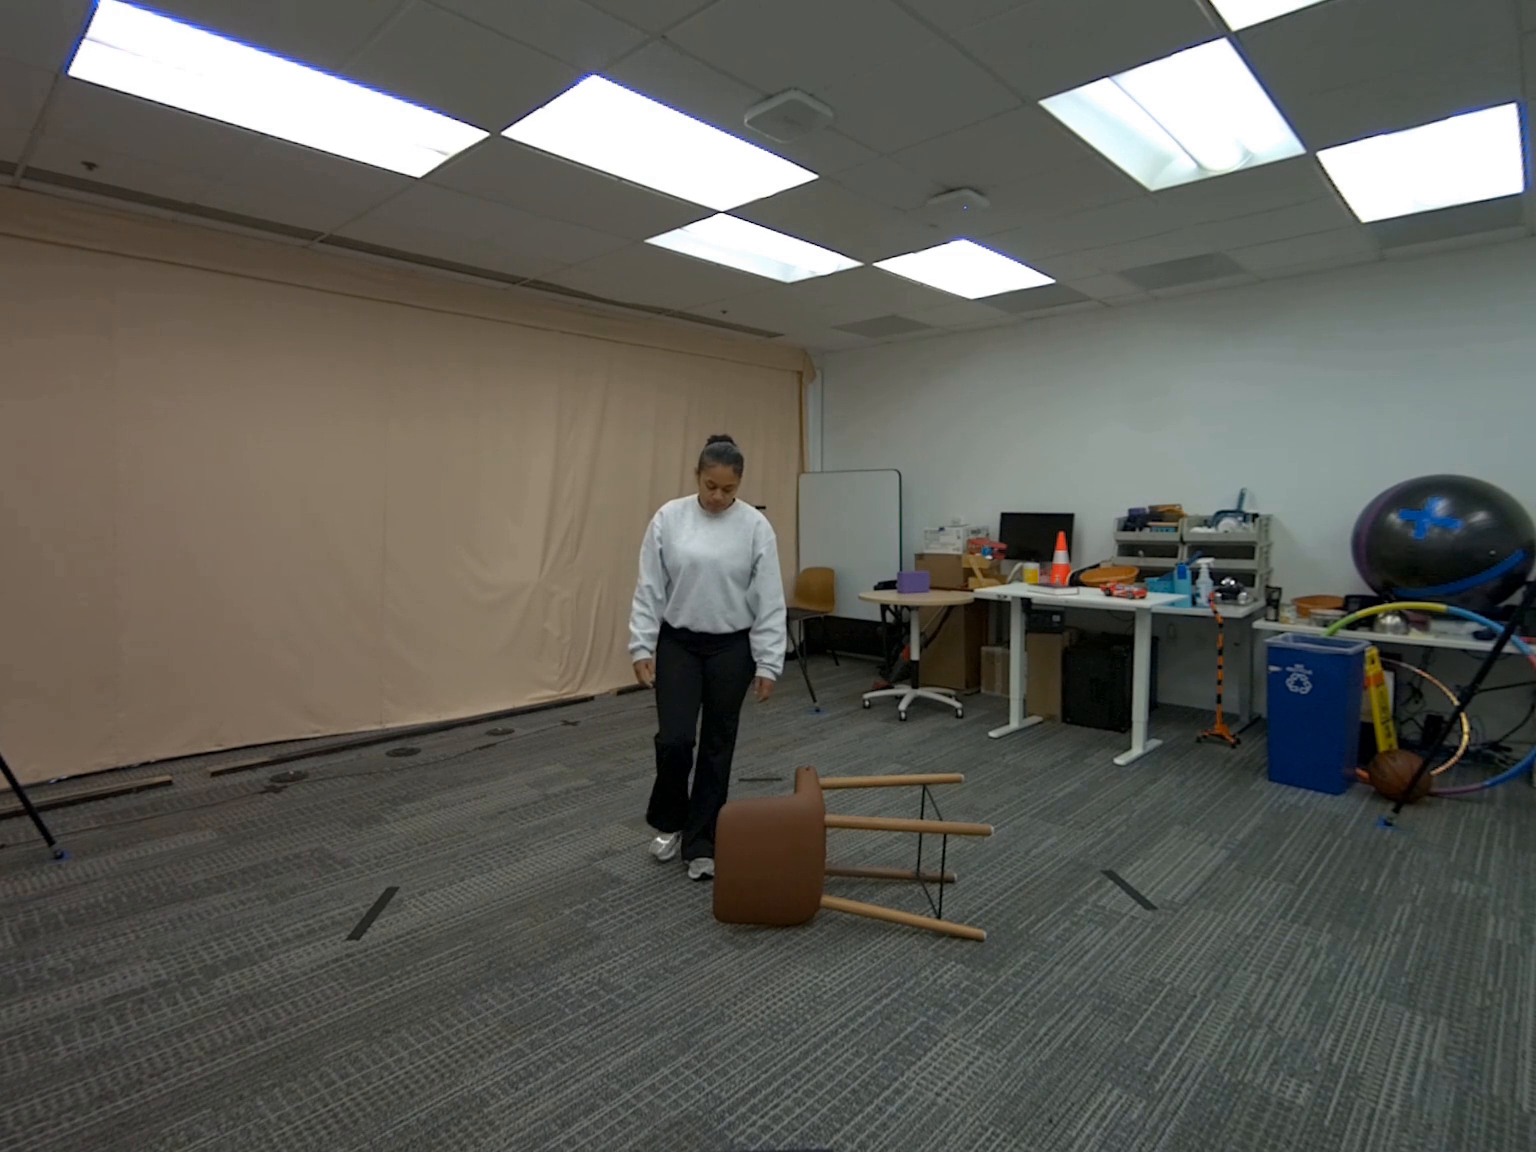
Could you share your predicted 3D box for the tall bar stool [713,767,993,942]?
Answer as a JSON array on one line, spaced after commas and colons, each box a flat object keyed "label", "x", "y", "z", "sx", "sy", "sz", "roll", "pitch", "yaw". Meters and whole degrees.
[{"label": "tall bar stool", "x": 0.272, "y": 0.937, "z": 2.904, "sx": 0.891, "sy": 0.455, "sz": 0.469, "roll": 1, "pitch": 6, "yaw": 0}]
